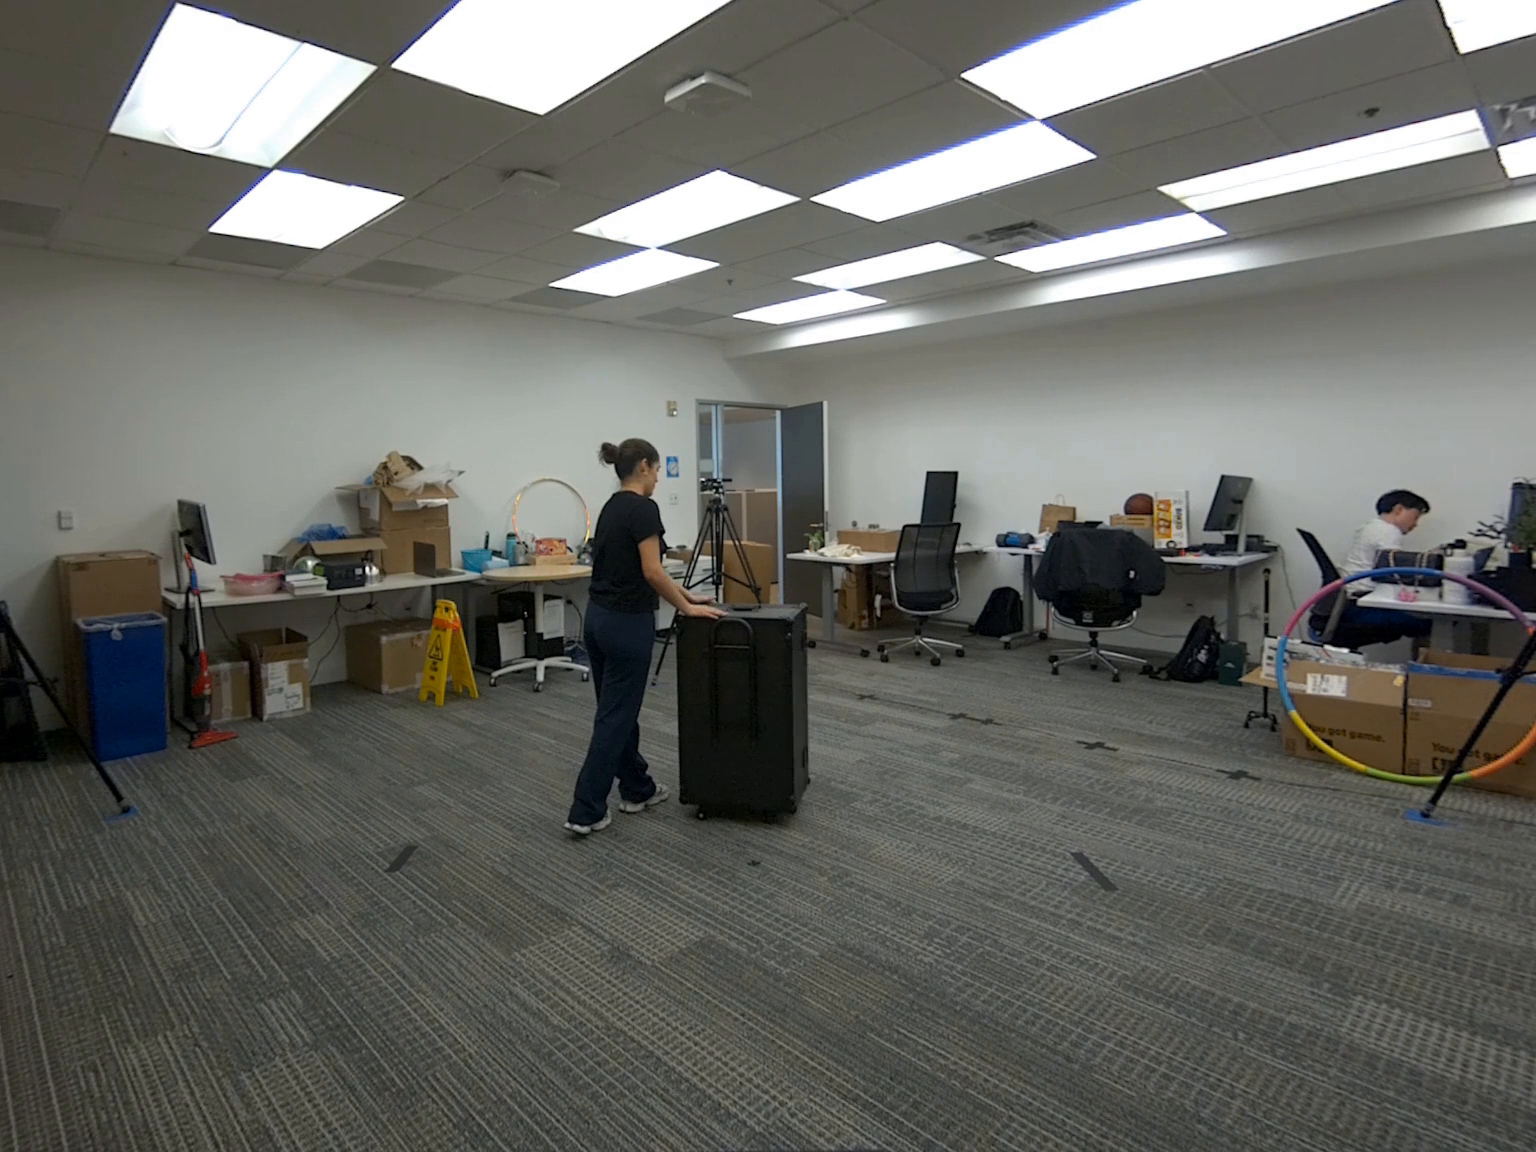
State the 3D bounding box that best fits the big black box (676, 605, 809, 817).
[{"bbox_3d":[-0.096,0.568,3.582,0.529,0.857,0.393,0,6,14],"label":"big black box"}]
